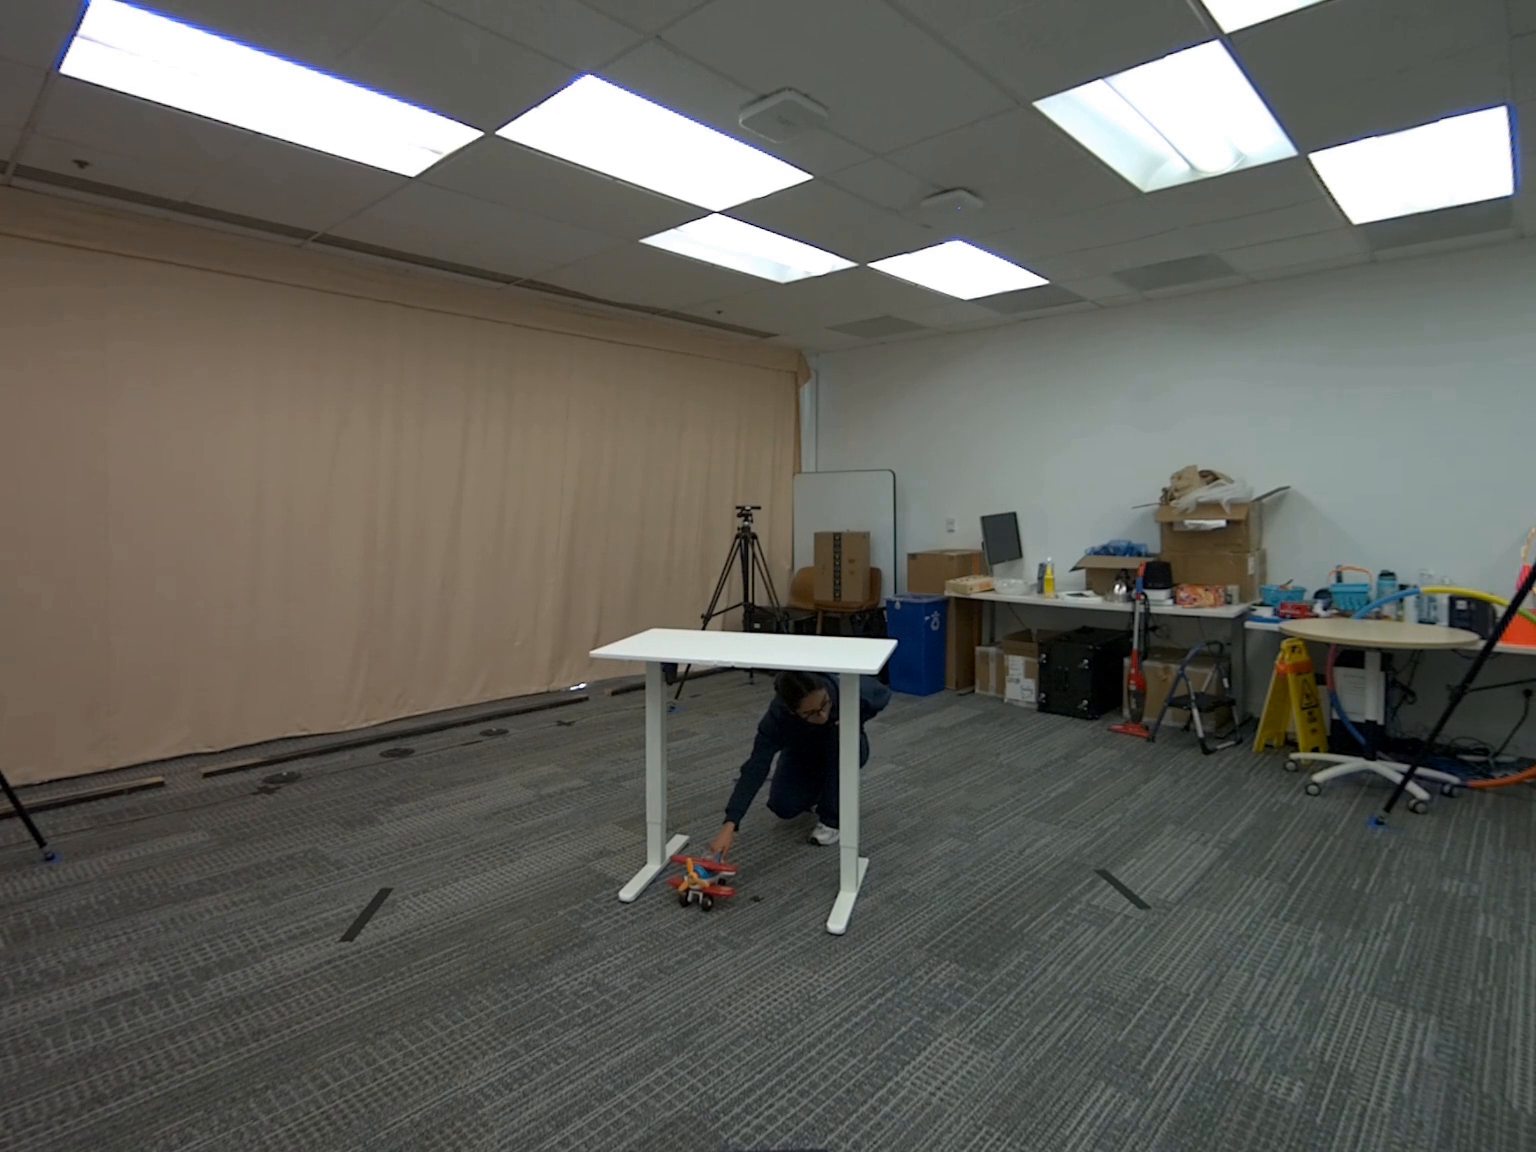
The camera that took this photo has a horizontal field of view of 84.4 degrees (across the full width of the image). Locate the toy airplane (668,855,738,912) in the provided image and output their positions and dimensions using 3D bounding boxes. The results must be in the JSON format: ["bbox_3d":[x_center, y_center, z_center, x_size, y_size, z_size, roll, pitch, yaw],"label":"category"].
[{"bbox_3d":[-0.211,1.071,3.004,0.250,0.156,0.261,0,6,-5],"label":"toy airplane"}]
